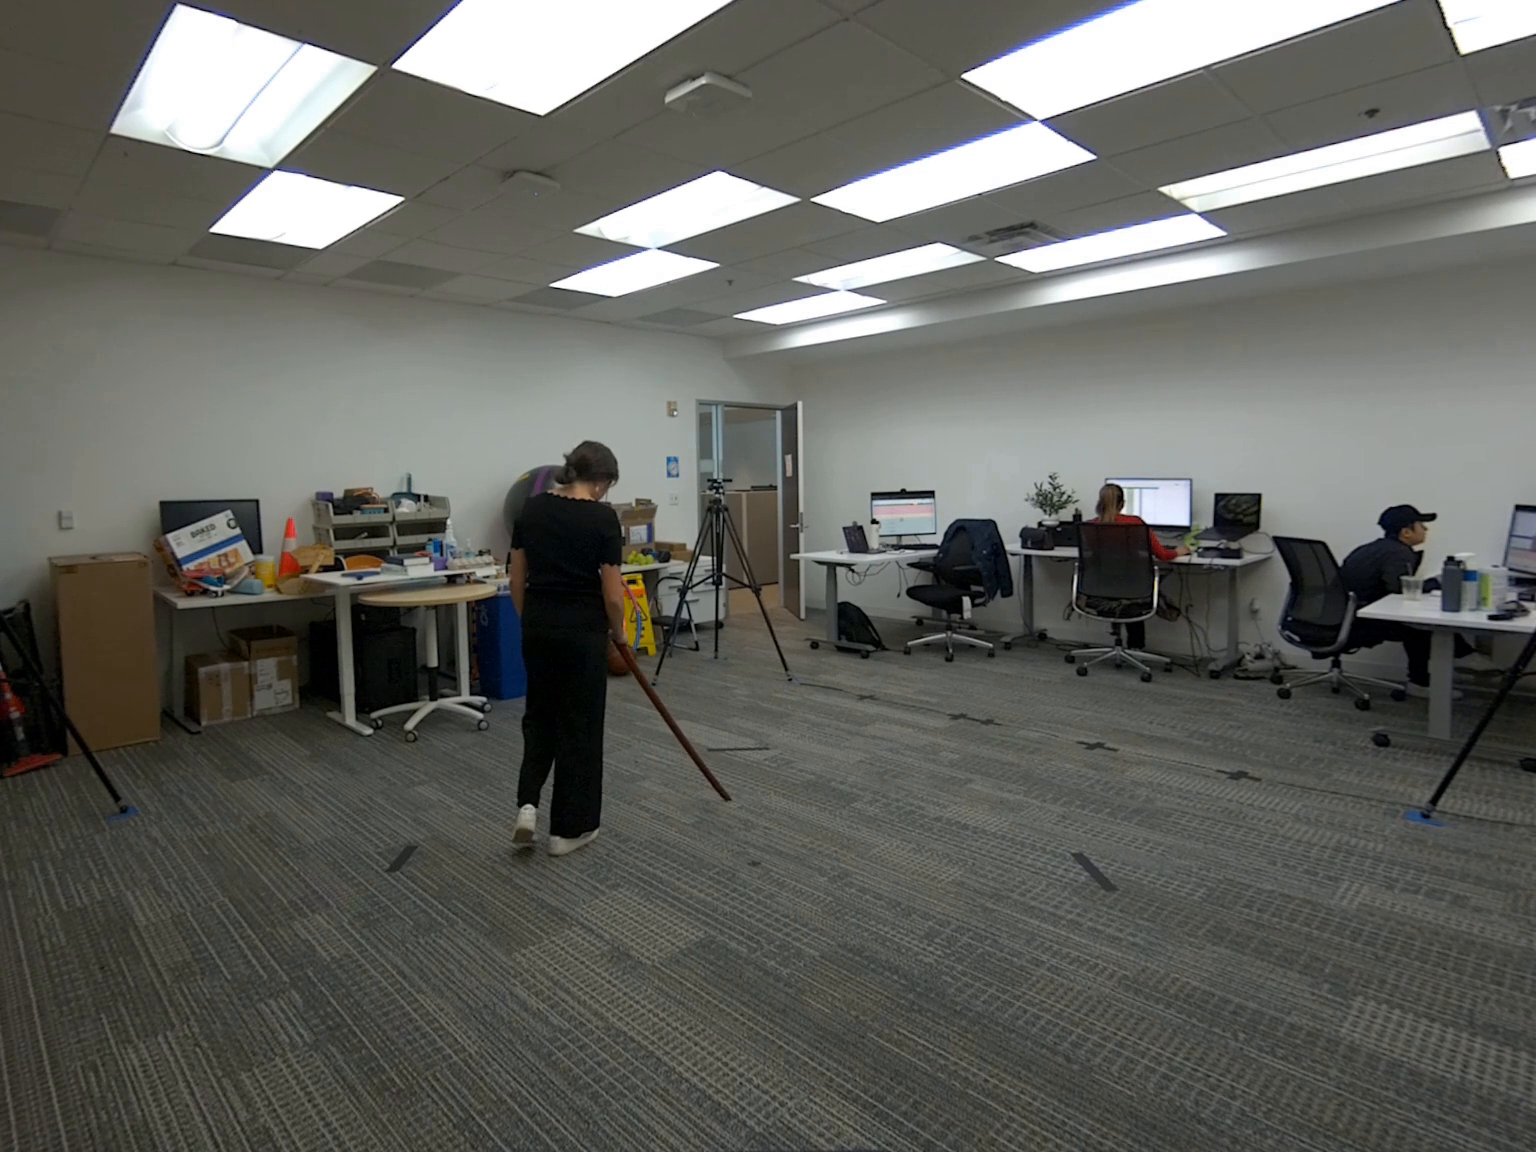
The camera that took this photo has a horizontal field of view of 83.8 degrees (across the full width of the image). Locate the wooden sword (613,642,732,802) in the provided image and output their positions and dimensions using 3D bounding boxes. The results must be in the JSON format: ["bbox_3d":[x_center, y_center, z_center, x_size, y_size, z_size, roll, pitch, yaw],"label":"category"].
[{"bbox_3d":[-0.415,0.593,3.572,0.052,0.999,0.024,-25,22,17],"label":"wooden sword"}]
